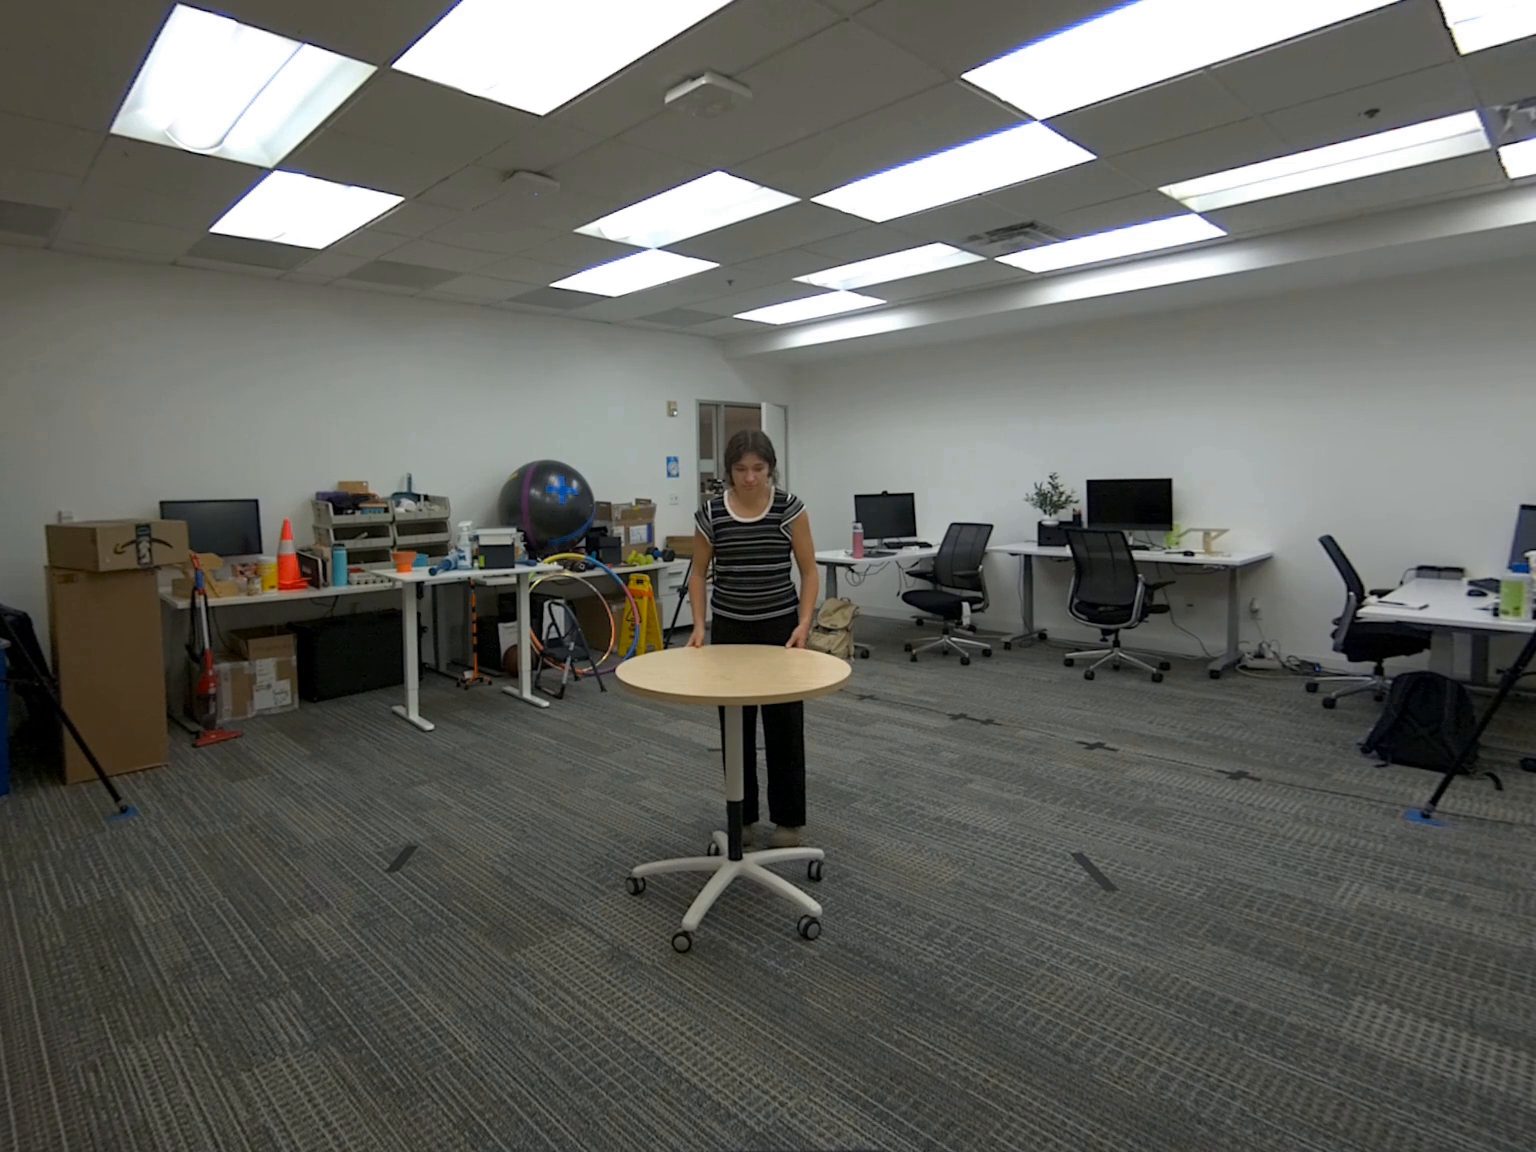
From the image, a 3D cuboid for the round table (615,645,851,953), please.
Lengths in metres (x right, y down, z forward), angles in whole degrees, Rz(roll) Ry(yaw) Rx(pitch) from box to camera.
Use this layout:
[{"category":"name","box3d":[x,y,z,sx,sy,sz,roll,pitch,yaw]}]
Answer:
[{"category":"round table","box3d":[-0.115,0.687,2.828,0.784,0.783,0.789,-1,5,-2]}]
